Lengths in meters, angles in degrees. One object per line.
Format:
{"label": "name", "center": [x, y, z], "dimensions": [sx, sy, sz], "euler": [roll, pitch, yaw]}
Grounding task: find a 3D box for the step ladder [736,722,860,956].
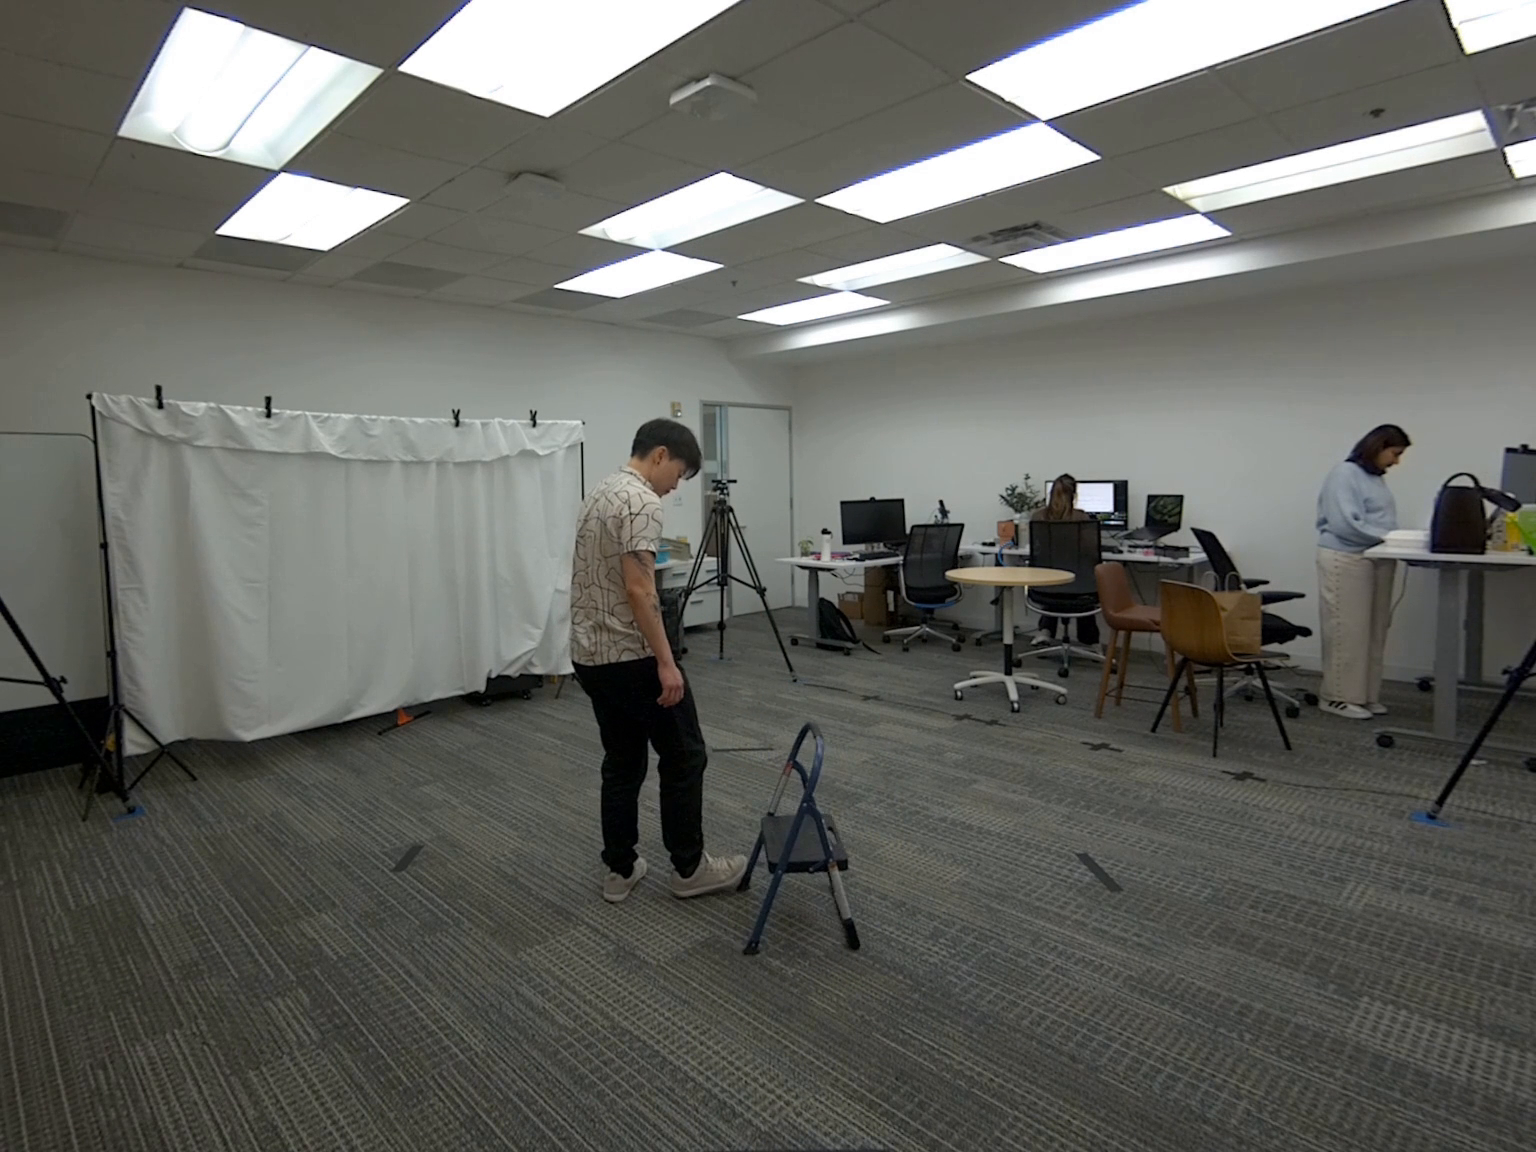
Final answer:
{"label": "step ladder", "center": [0.085, 0.789, 2.707], "dimensions": [0.348, 0.603, 0.434], "euler": [-1, 5, -4]}
